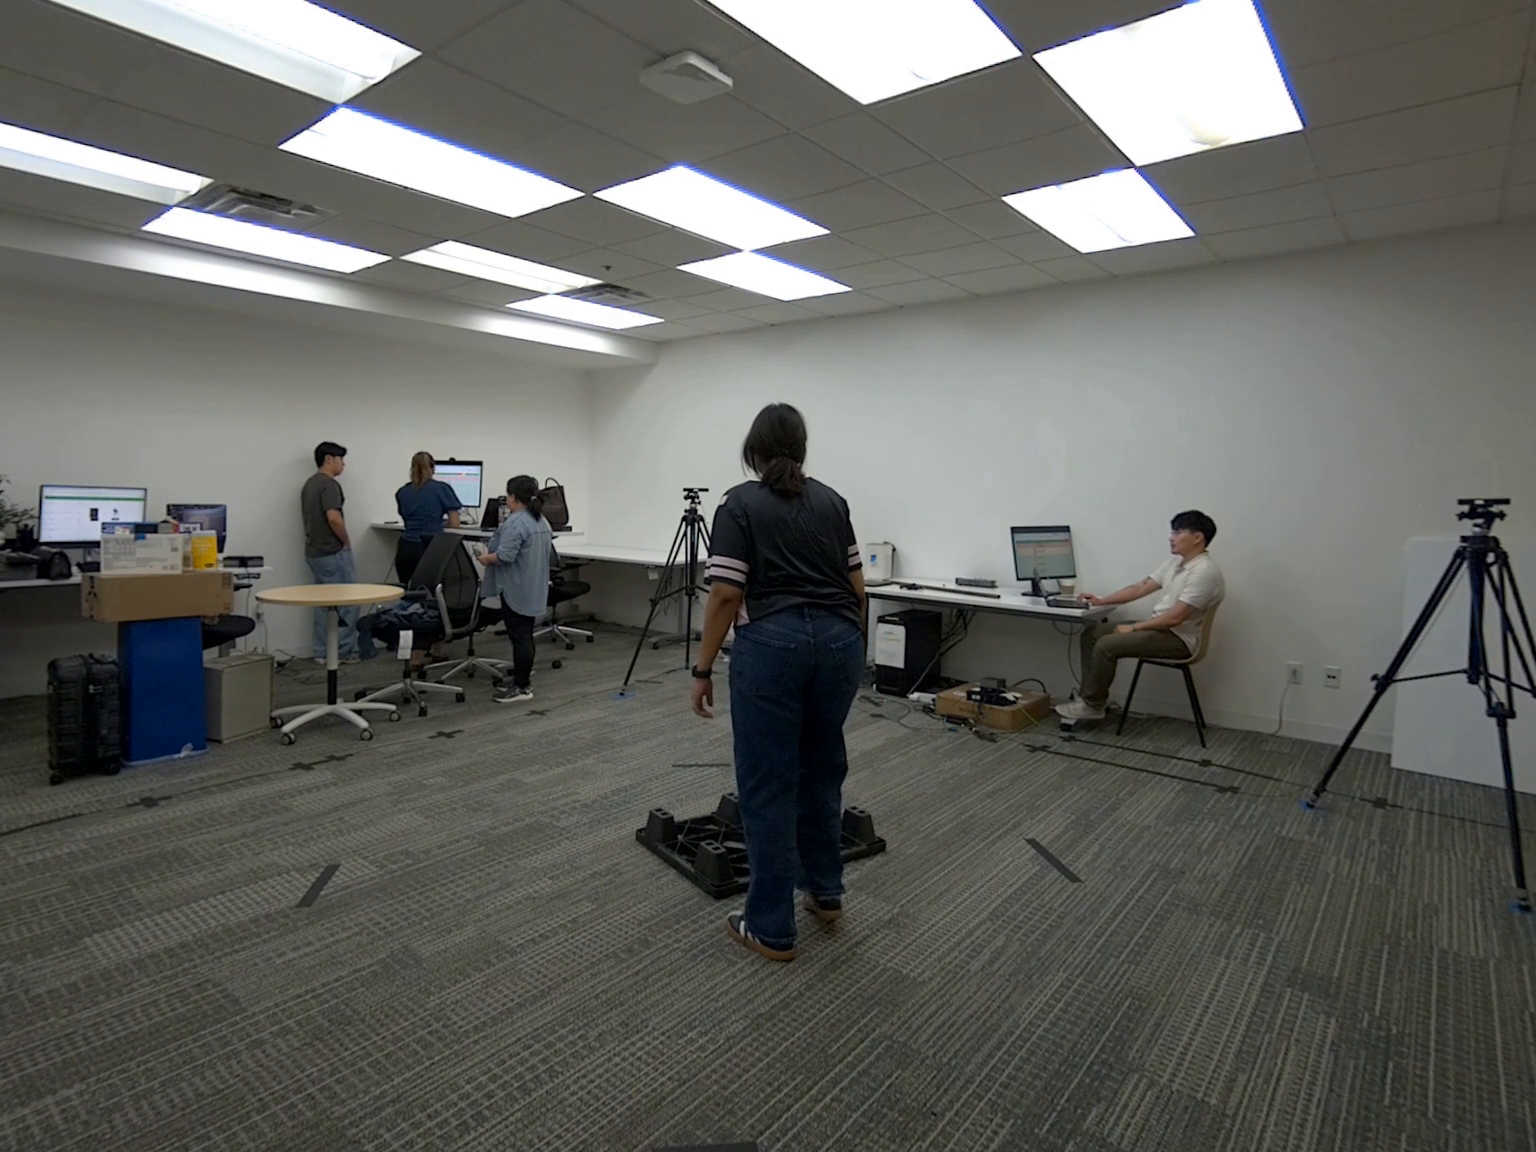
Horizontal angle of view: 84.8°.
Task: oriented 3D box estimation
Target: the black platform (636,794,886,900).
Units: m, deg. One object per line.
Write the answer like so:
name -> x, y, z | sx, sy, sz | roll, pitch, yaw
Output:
black platform -> -0.043, 0.986, 3.323 | 0.782, 0.143, 0.625 | -3, 6, -35
